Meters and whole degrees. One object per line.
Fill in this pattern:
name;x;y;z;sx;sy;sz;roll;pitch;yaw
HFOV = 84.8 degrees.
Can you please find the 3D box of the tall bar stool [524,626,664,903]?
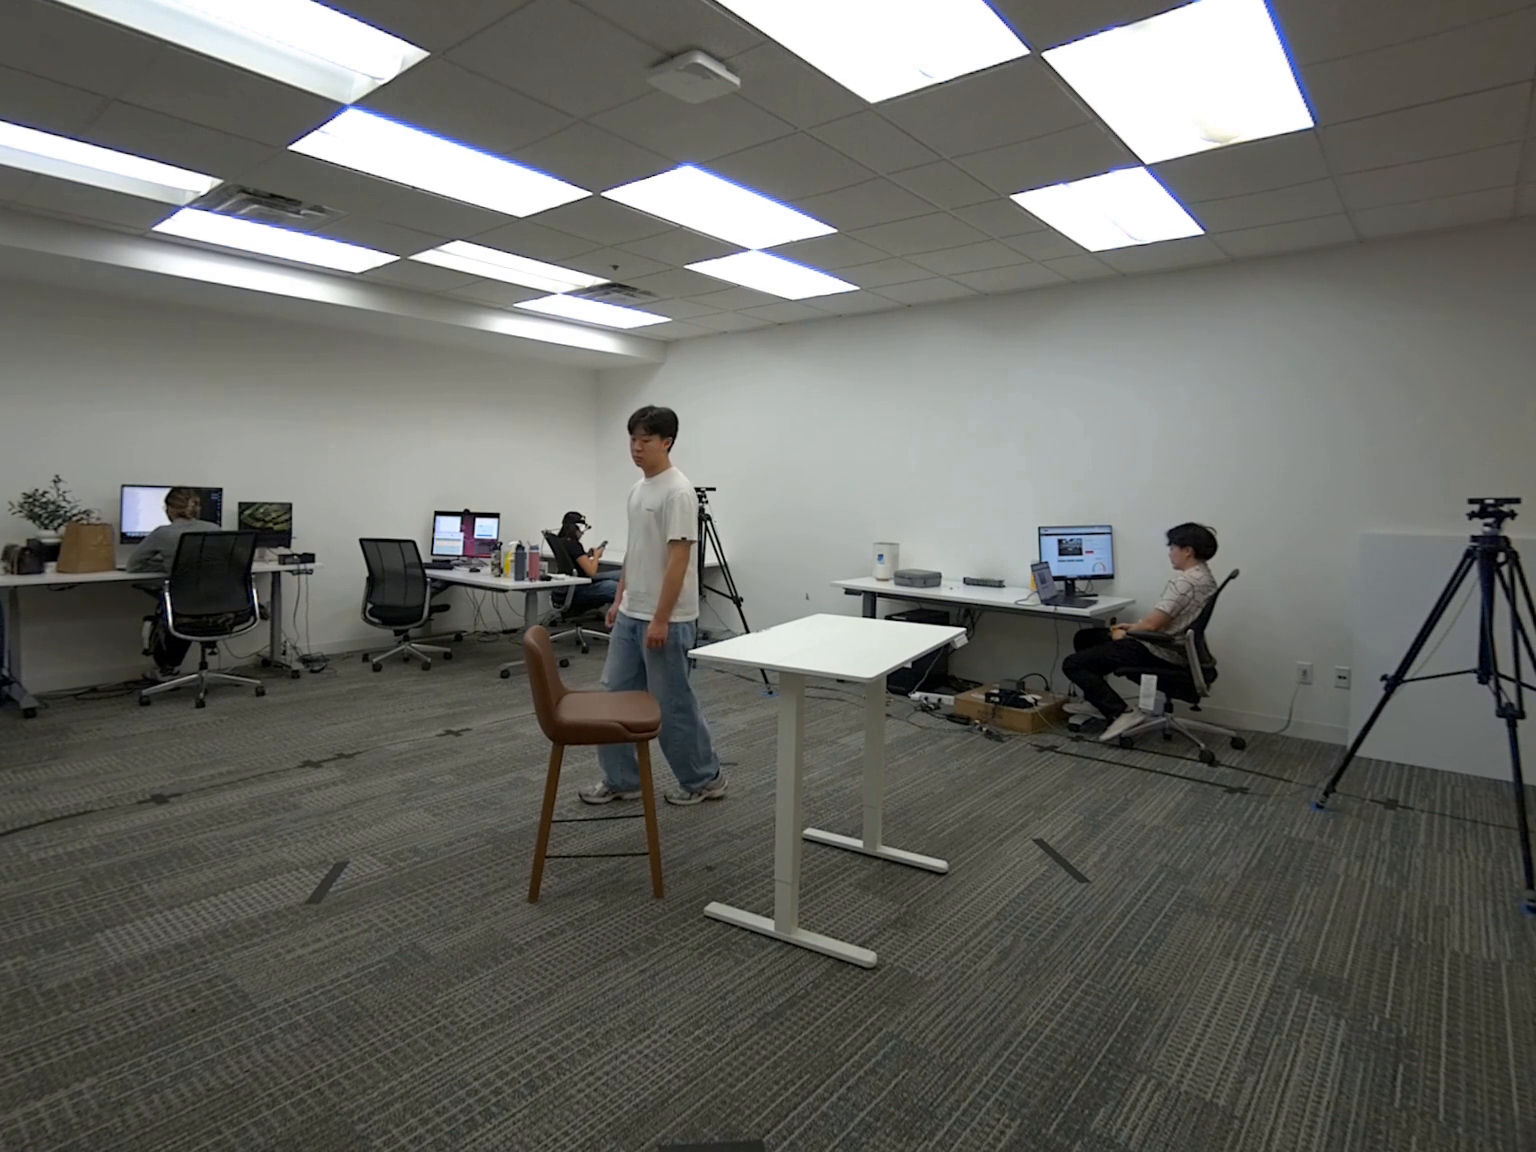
tall bar stool;-0.621;0.634;3.025;0.463;0.888;0.462;-1;3;-10
